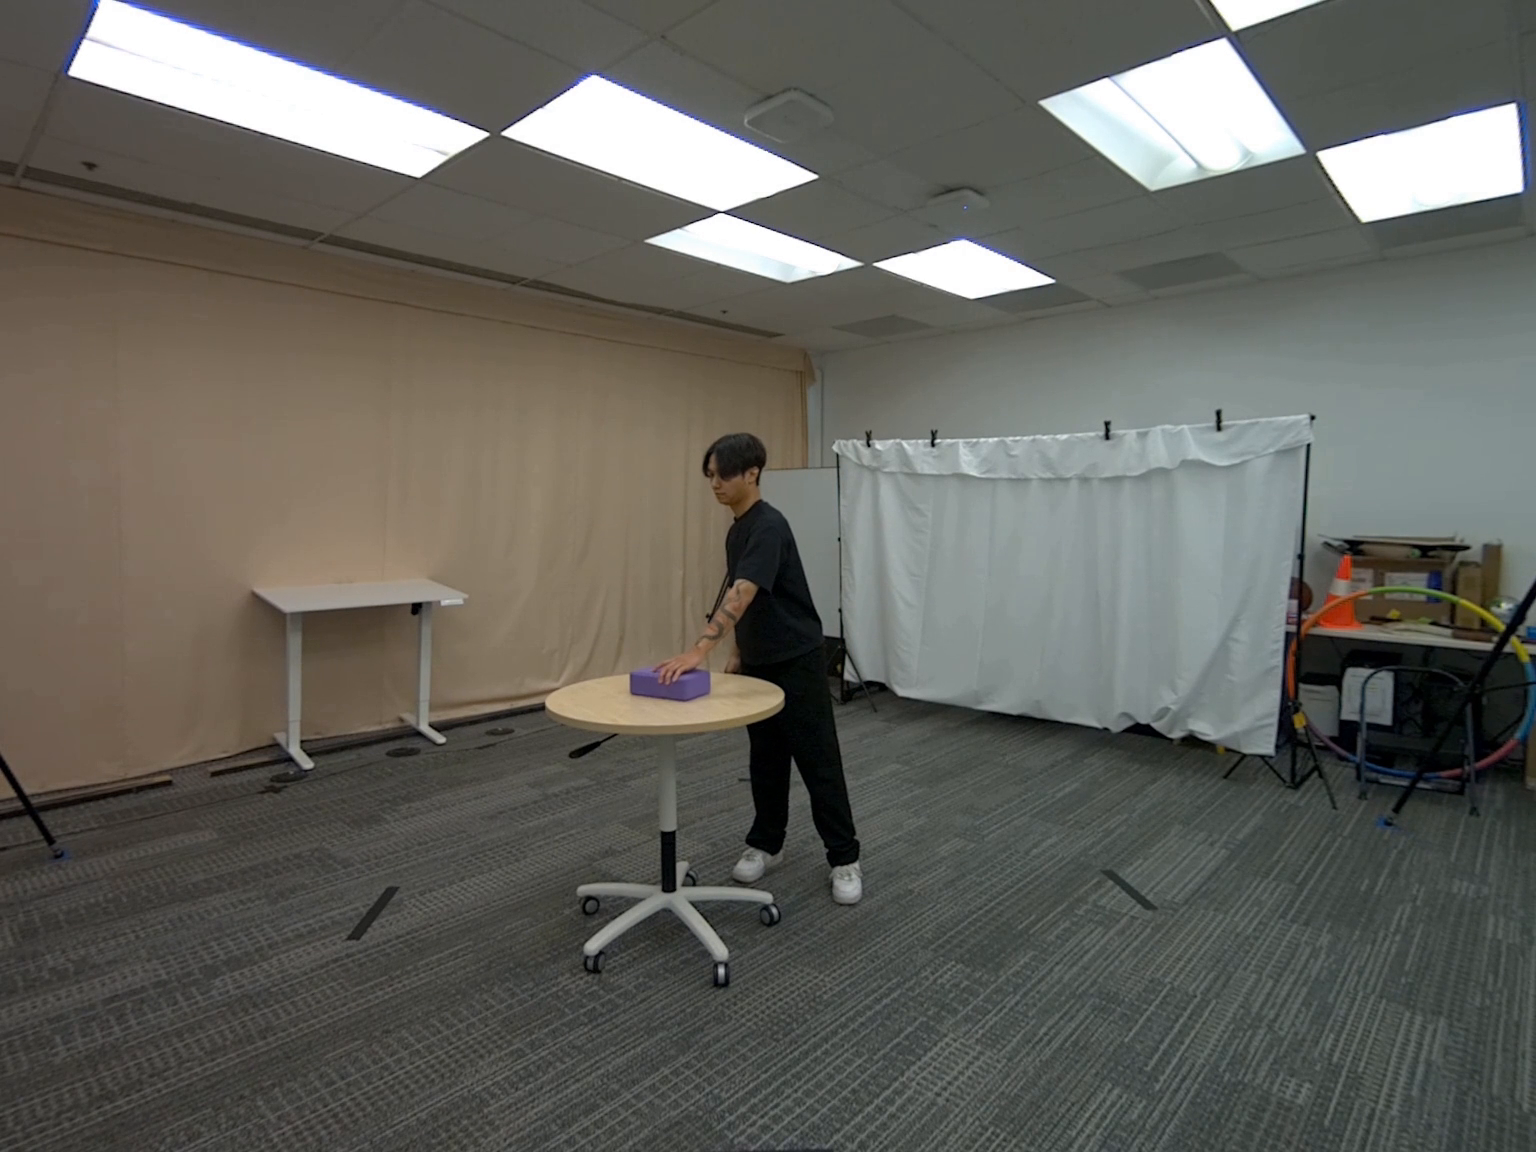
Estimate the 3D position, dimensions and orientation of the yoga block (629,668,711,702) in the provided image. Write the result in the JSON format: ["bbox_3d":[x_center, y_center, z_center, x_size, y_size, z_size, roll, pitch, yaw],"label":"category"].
[{"bbox_3d":[-0.318,0.342,2.721,0.236,0.076,0.145,3,6,31],"label":"yoga block"}]
